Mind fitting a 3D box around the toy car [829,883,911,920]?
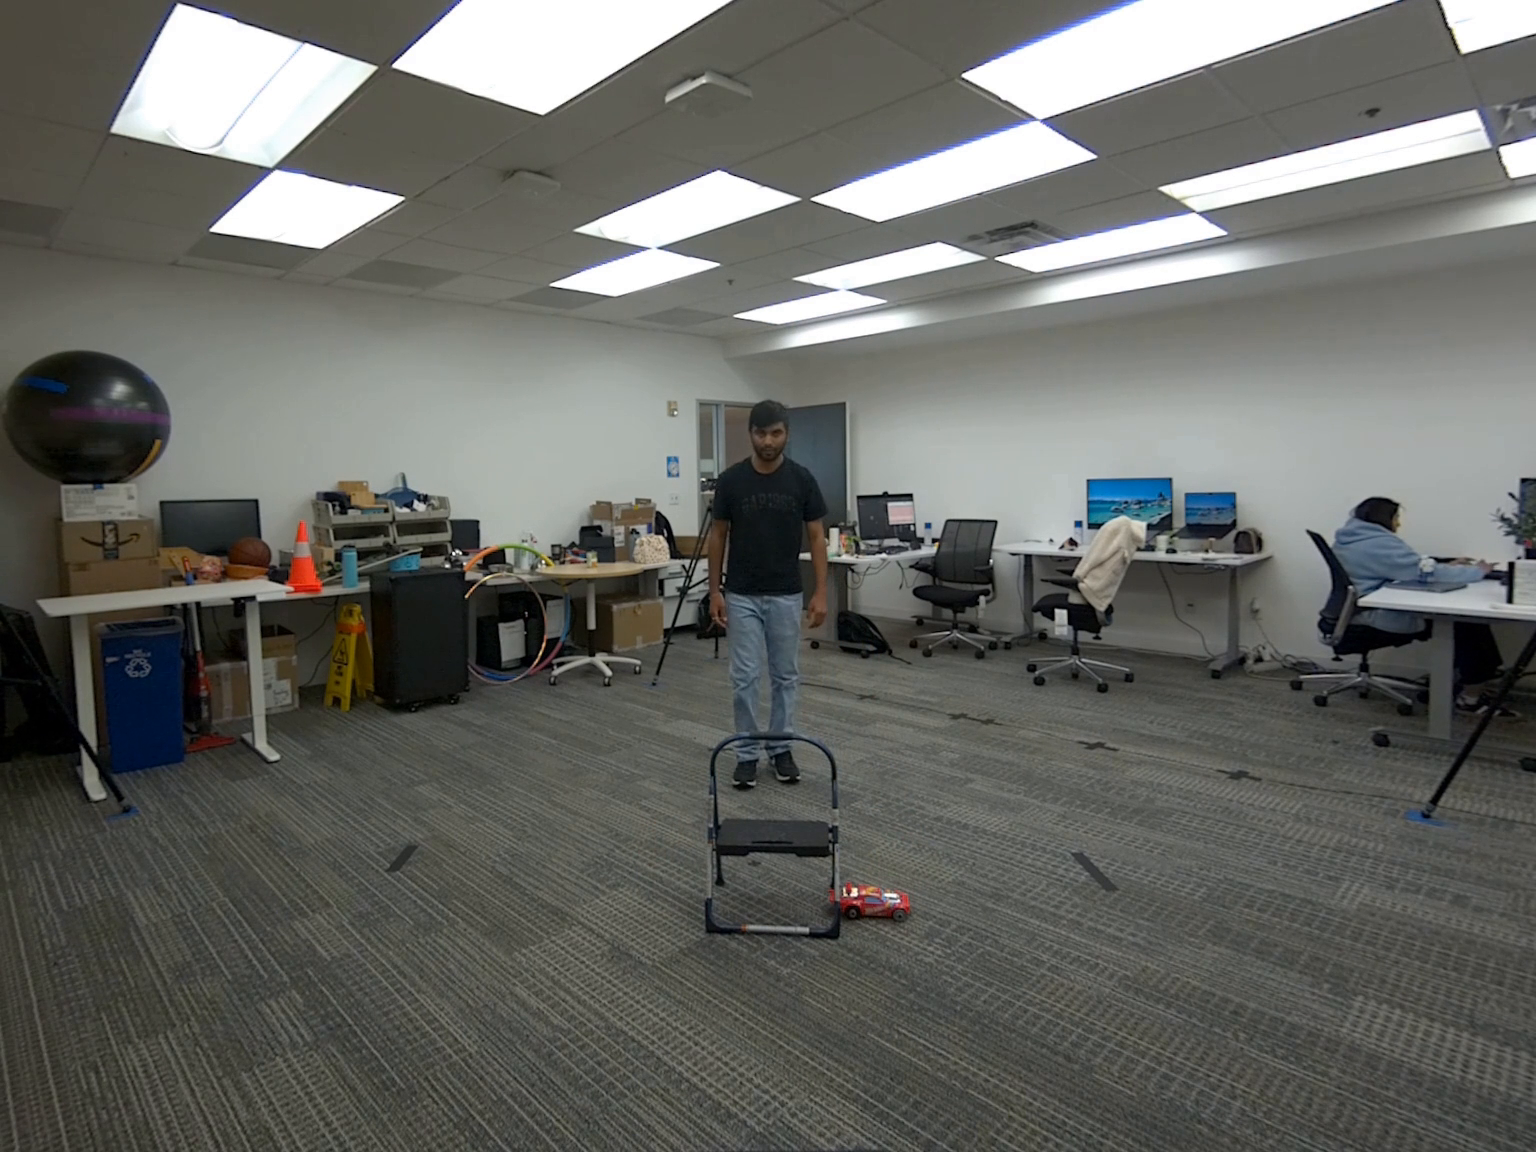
[{"bbox_3d":[0.330,1.061,2.736,0.257,0.083,0.129,14,6,9],"label":"toy car"}]
